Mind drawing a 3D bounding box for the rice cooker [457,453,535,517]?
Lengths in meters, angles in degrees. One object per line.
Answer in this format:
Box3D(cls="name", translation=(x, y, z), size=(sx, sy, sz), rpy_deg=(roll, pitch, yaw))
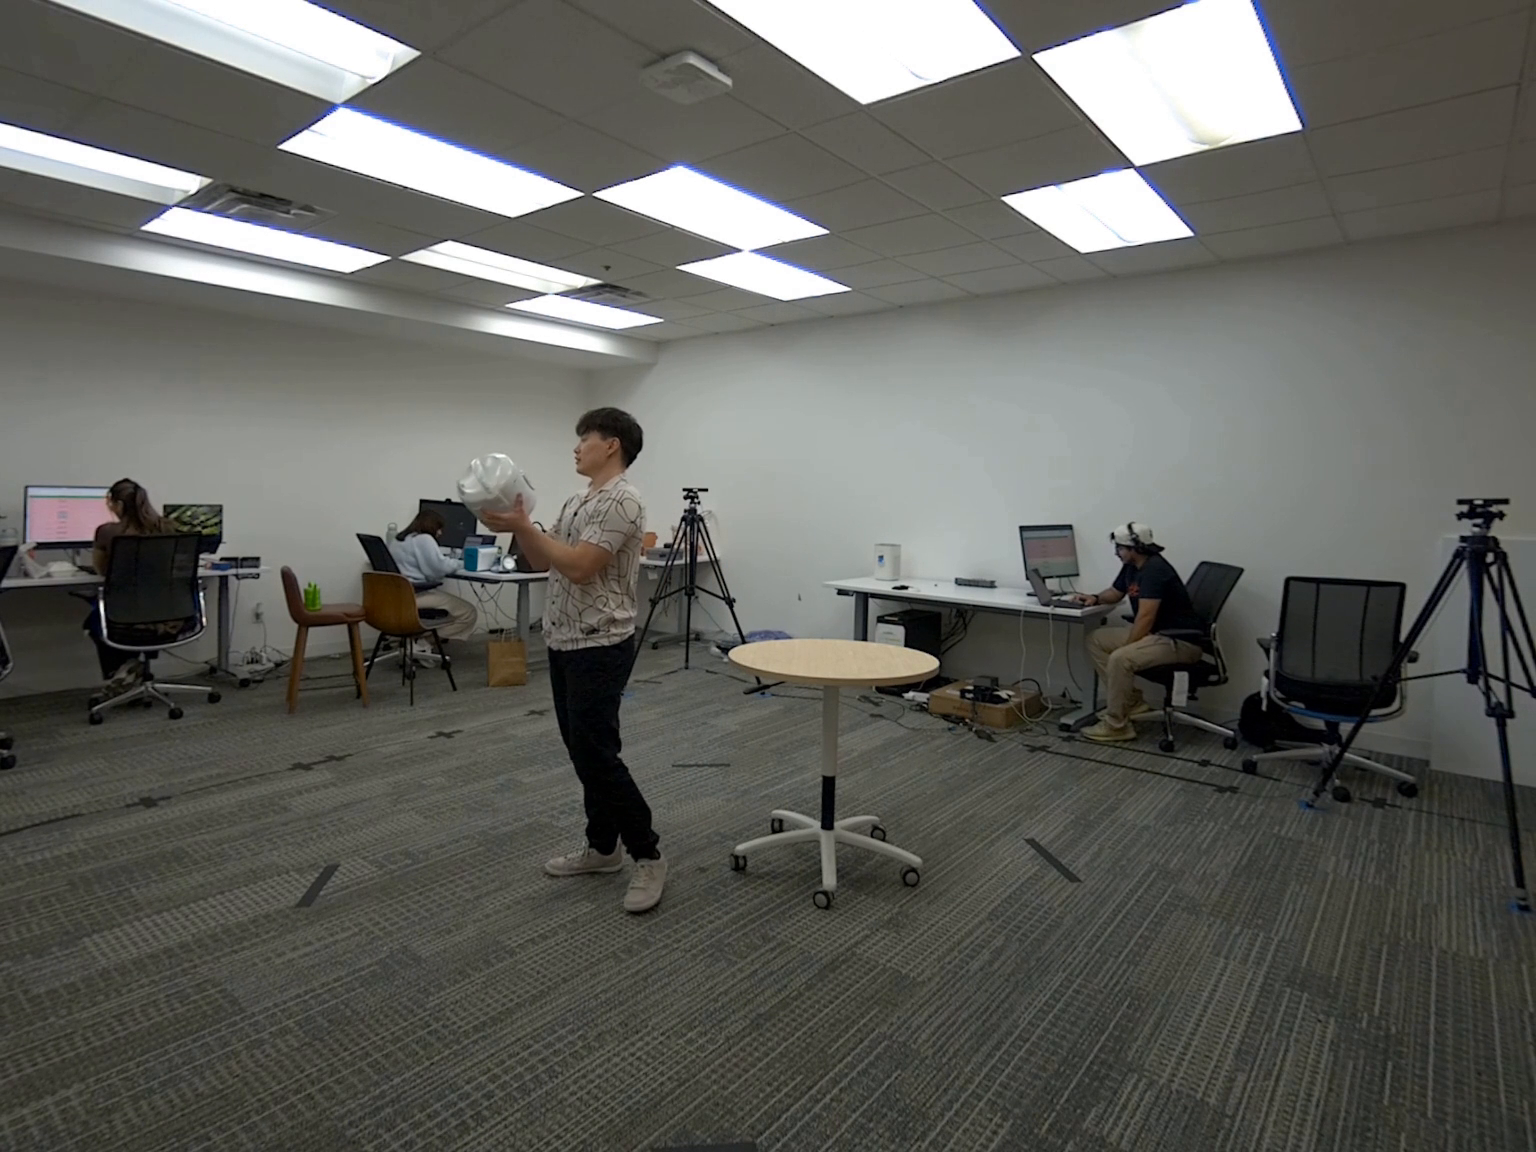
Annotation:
Box3D(cls="rice cooker", translation=(-0.928, -0.295, 2.857), size=(0.217, 0.230, 0.223), rpy_deg=(-34, -38, -4))
